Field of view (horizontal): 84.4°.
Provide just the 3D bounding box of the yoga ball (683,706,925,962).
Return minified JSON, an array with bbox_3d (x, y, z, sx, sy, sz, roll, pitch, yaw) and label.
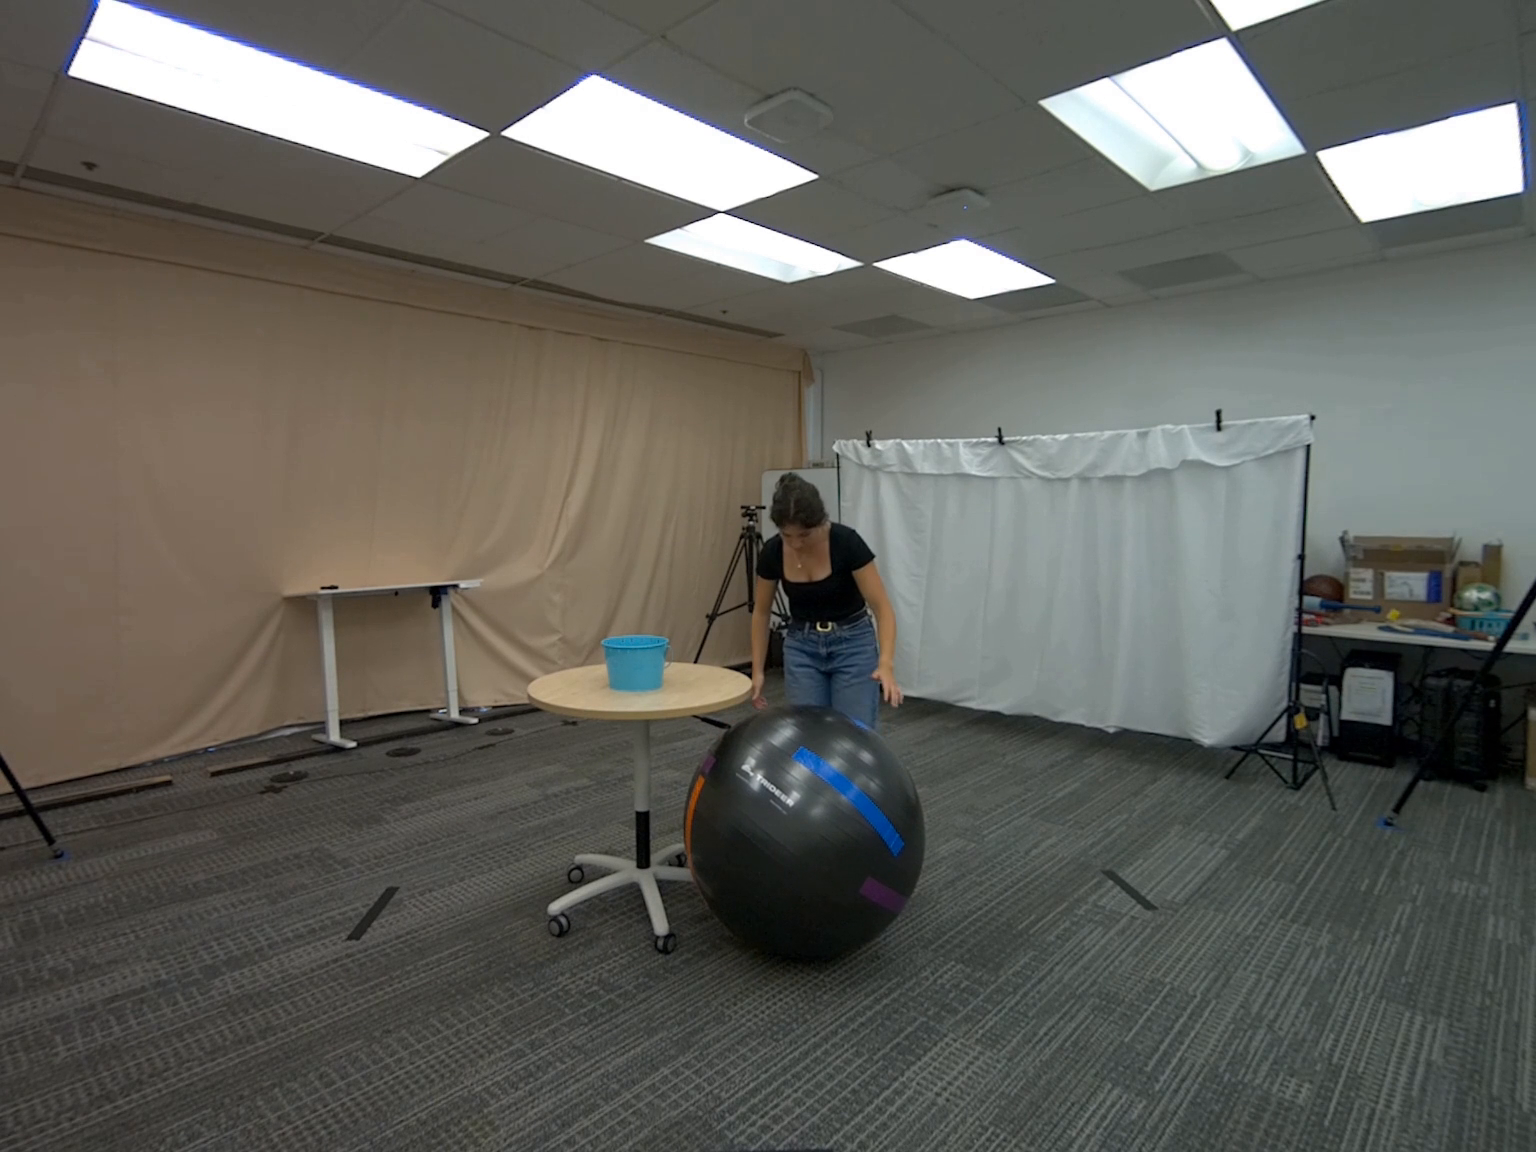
[{"bbox_3d":[0.119,0.811,2.670,0.757,0.756,0.760,0,4,-2],"label":"yoga ball"}]
